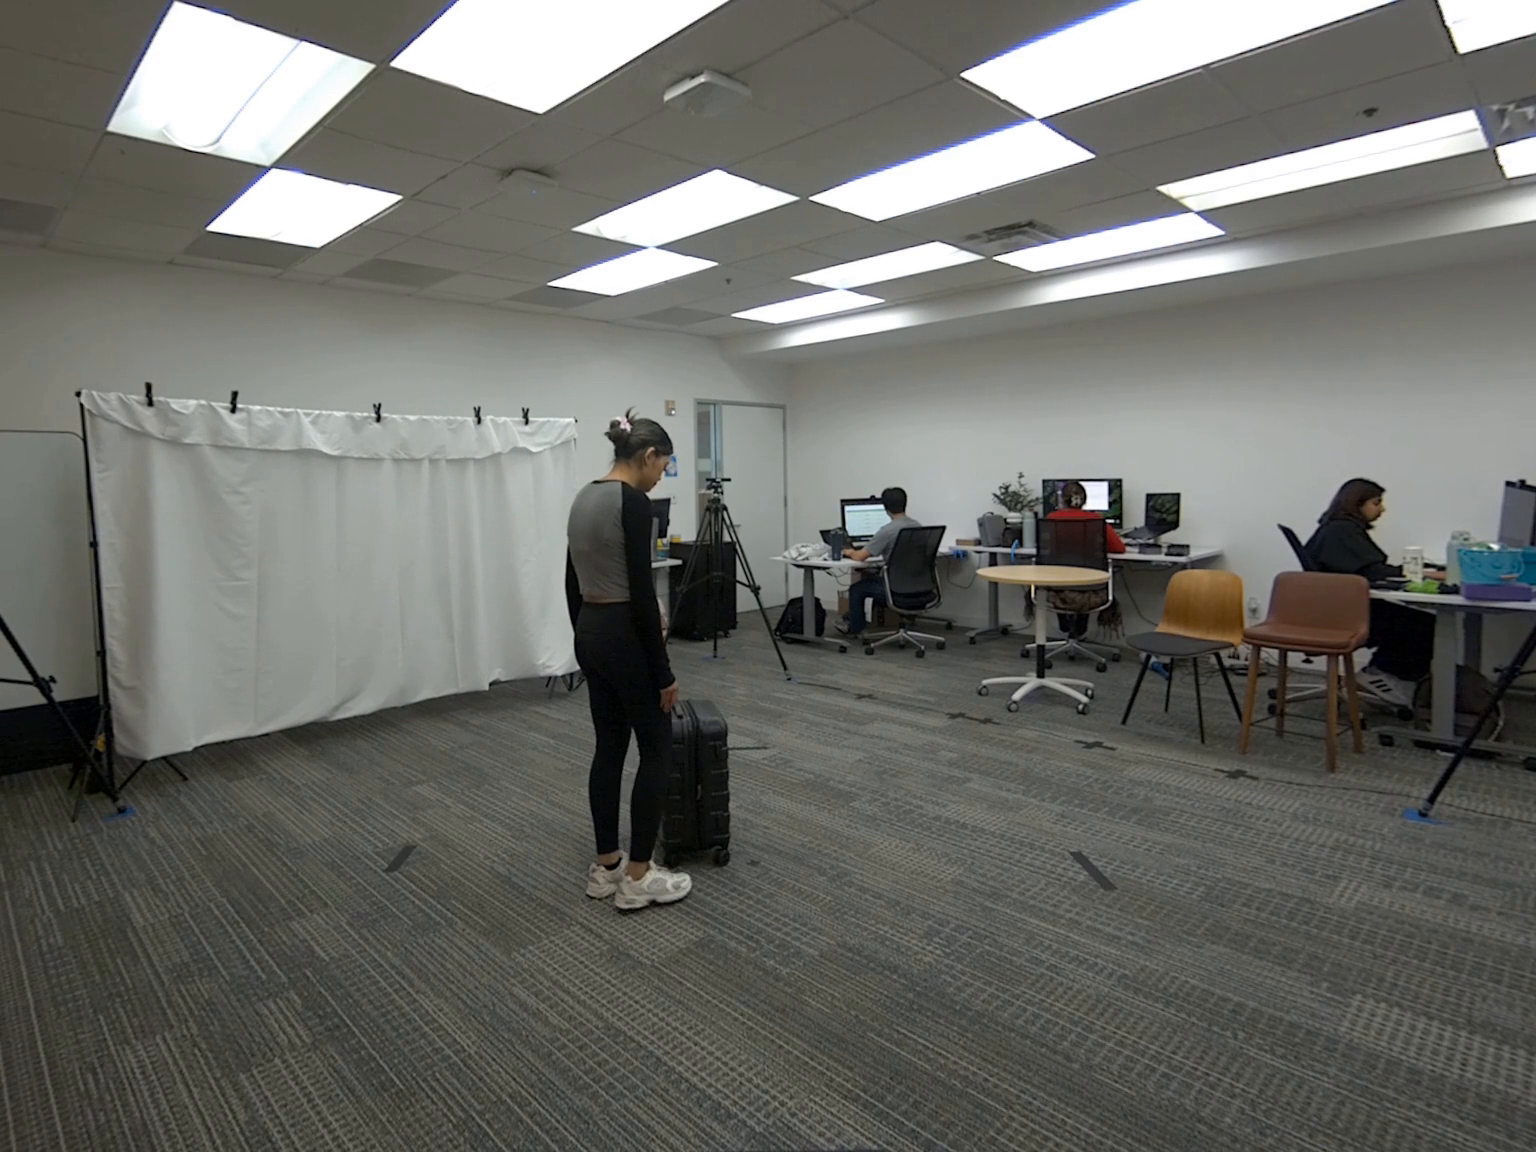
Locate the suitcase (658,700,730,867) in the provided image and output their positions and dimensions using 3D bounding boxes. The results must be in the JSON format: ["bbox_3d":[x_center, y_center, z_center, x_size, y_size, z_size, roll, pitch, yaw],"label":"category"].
[{"bbox_3d":[-0.288,0.754,3.224,0.246,0.547,0.381,-1,4,-12],"label":"suitcase"}]
